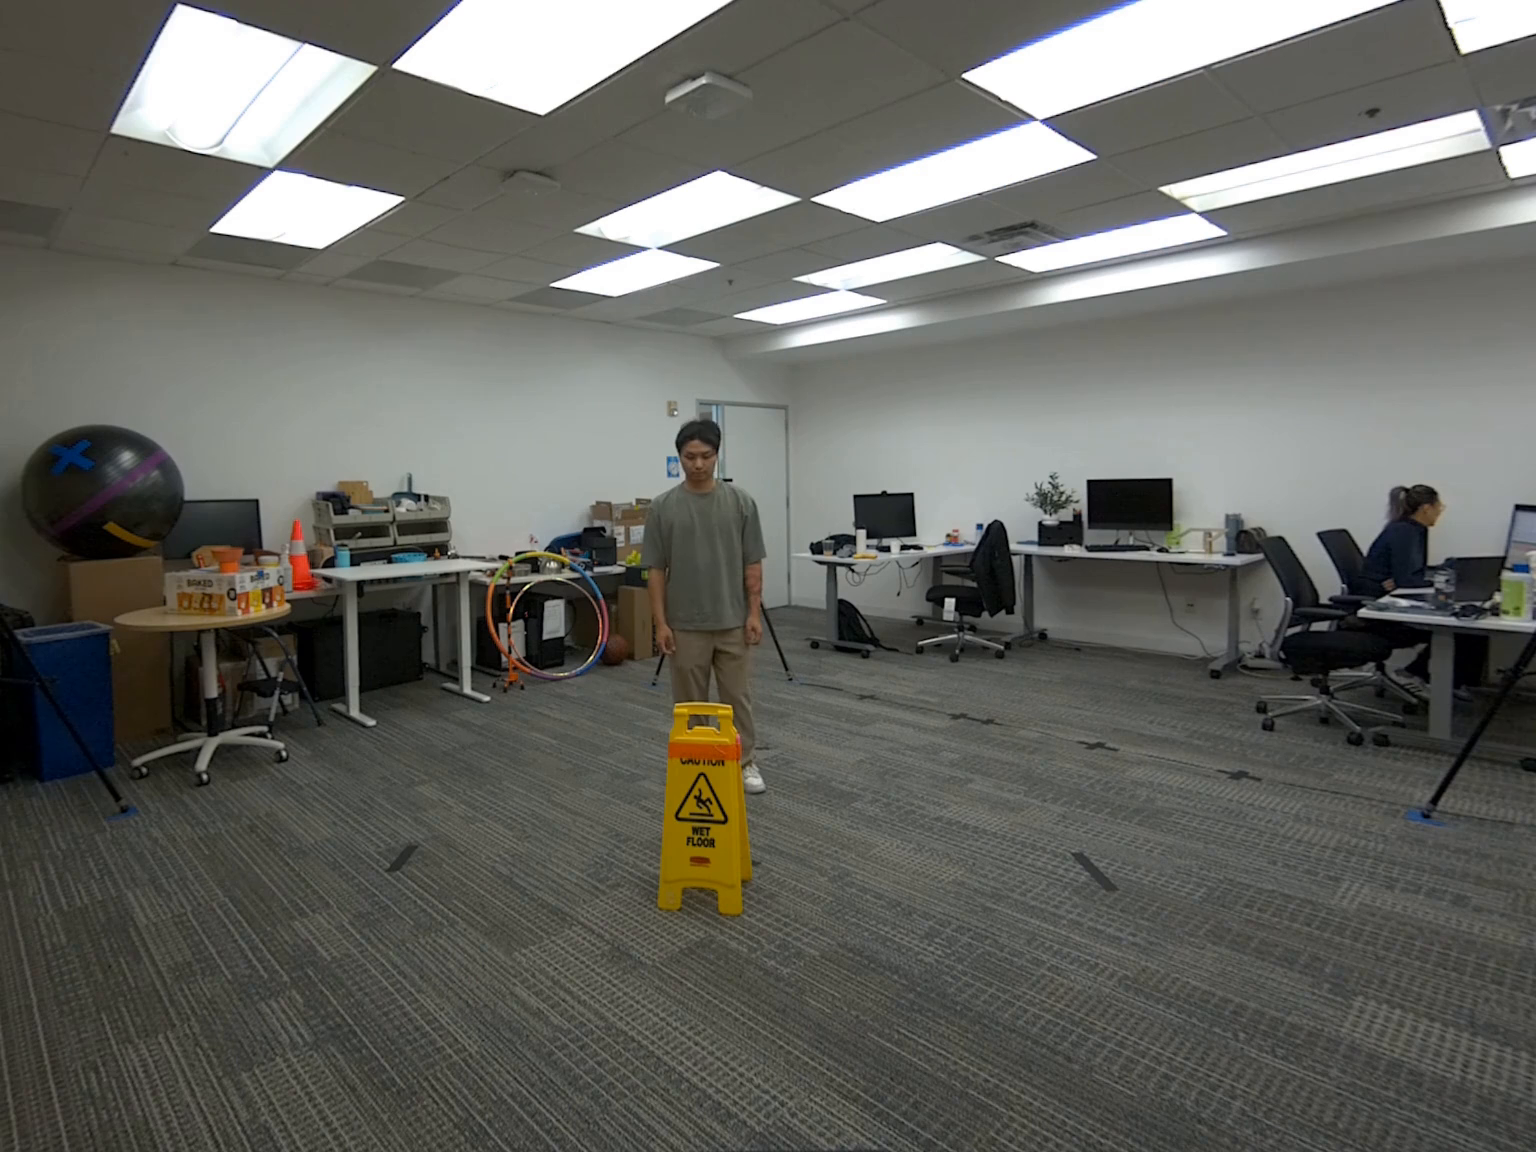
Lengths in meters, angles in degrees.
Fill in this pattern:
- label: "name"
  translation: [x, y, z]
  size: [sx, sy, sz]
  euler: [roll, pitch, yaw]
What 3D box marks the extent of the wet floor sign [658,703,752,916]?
- label: "wet floor sign"
  translation: [-0.204, 0.756, 2.861]
  size: [0.285, 0.643, 0.289]
  euler: [-1, 5, 8]
